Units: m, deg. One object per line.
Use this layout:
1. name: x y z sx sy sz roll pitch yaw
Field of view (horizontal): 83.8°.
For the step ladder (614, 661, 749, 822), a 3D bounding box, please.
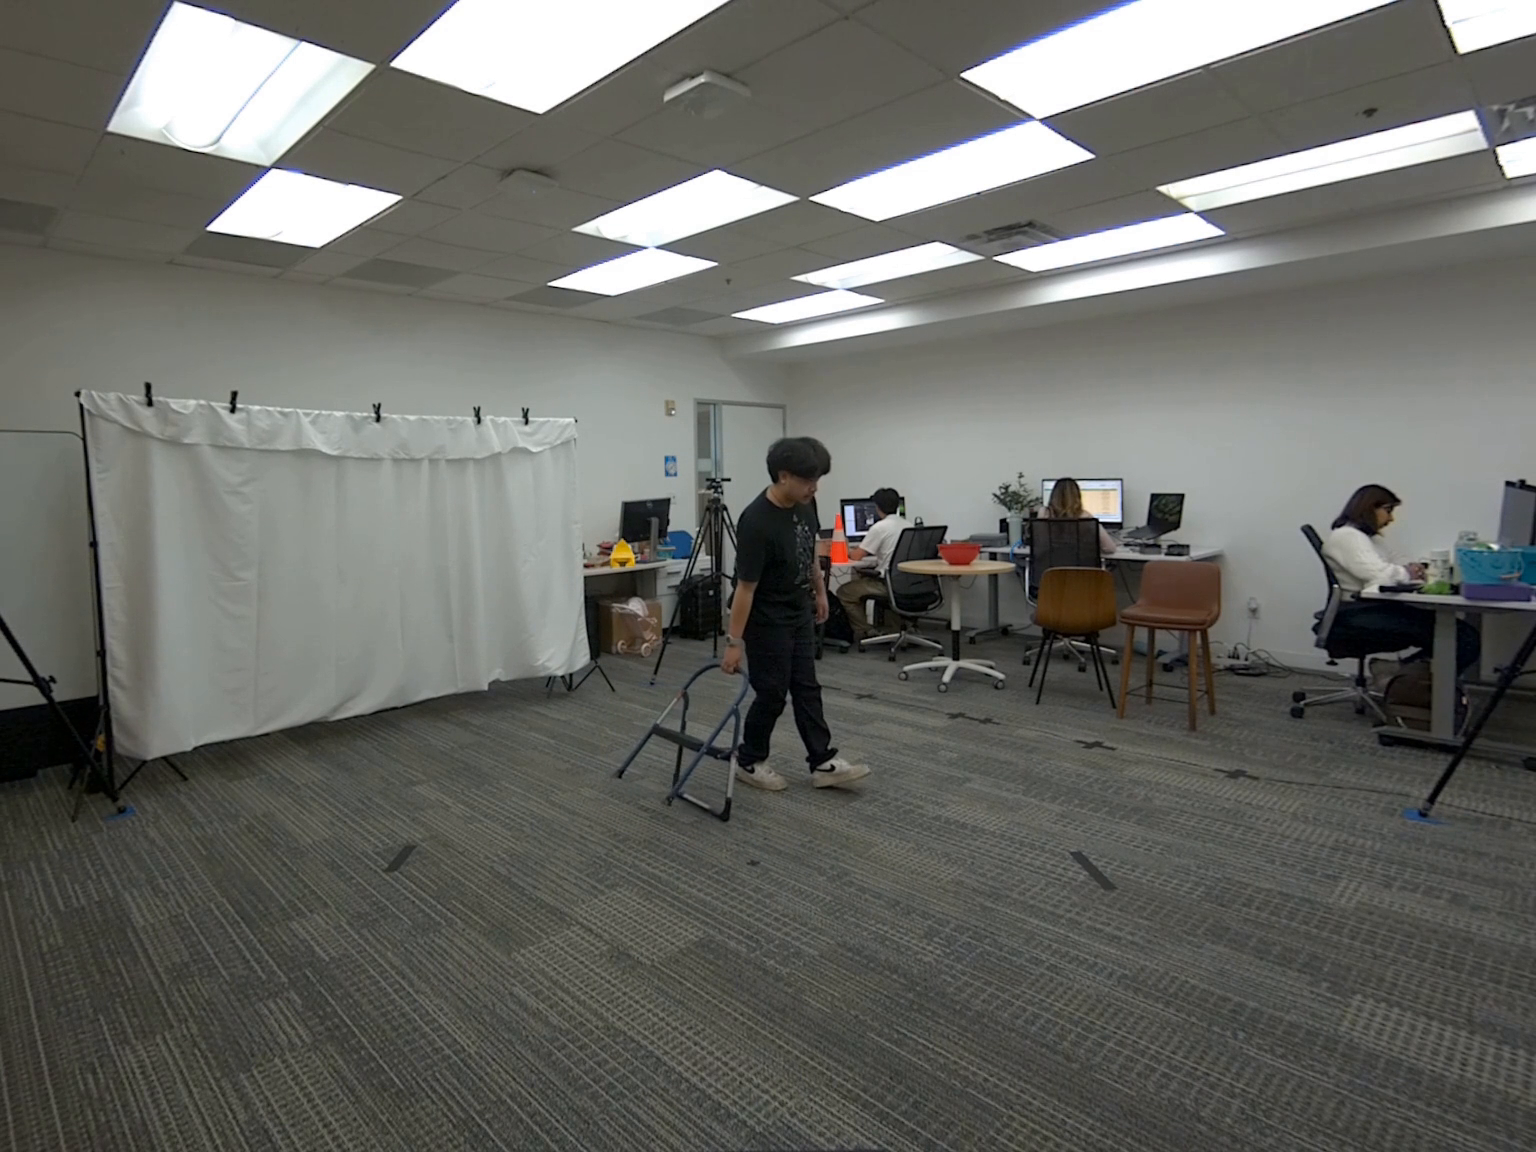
1. step ladder: -0.314 0.647 3.615 0.337 0.609 0.443 28 -13 -36
